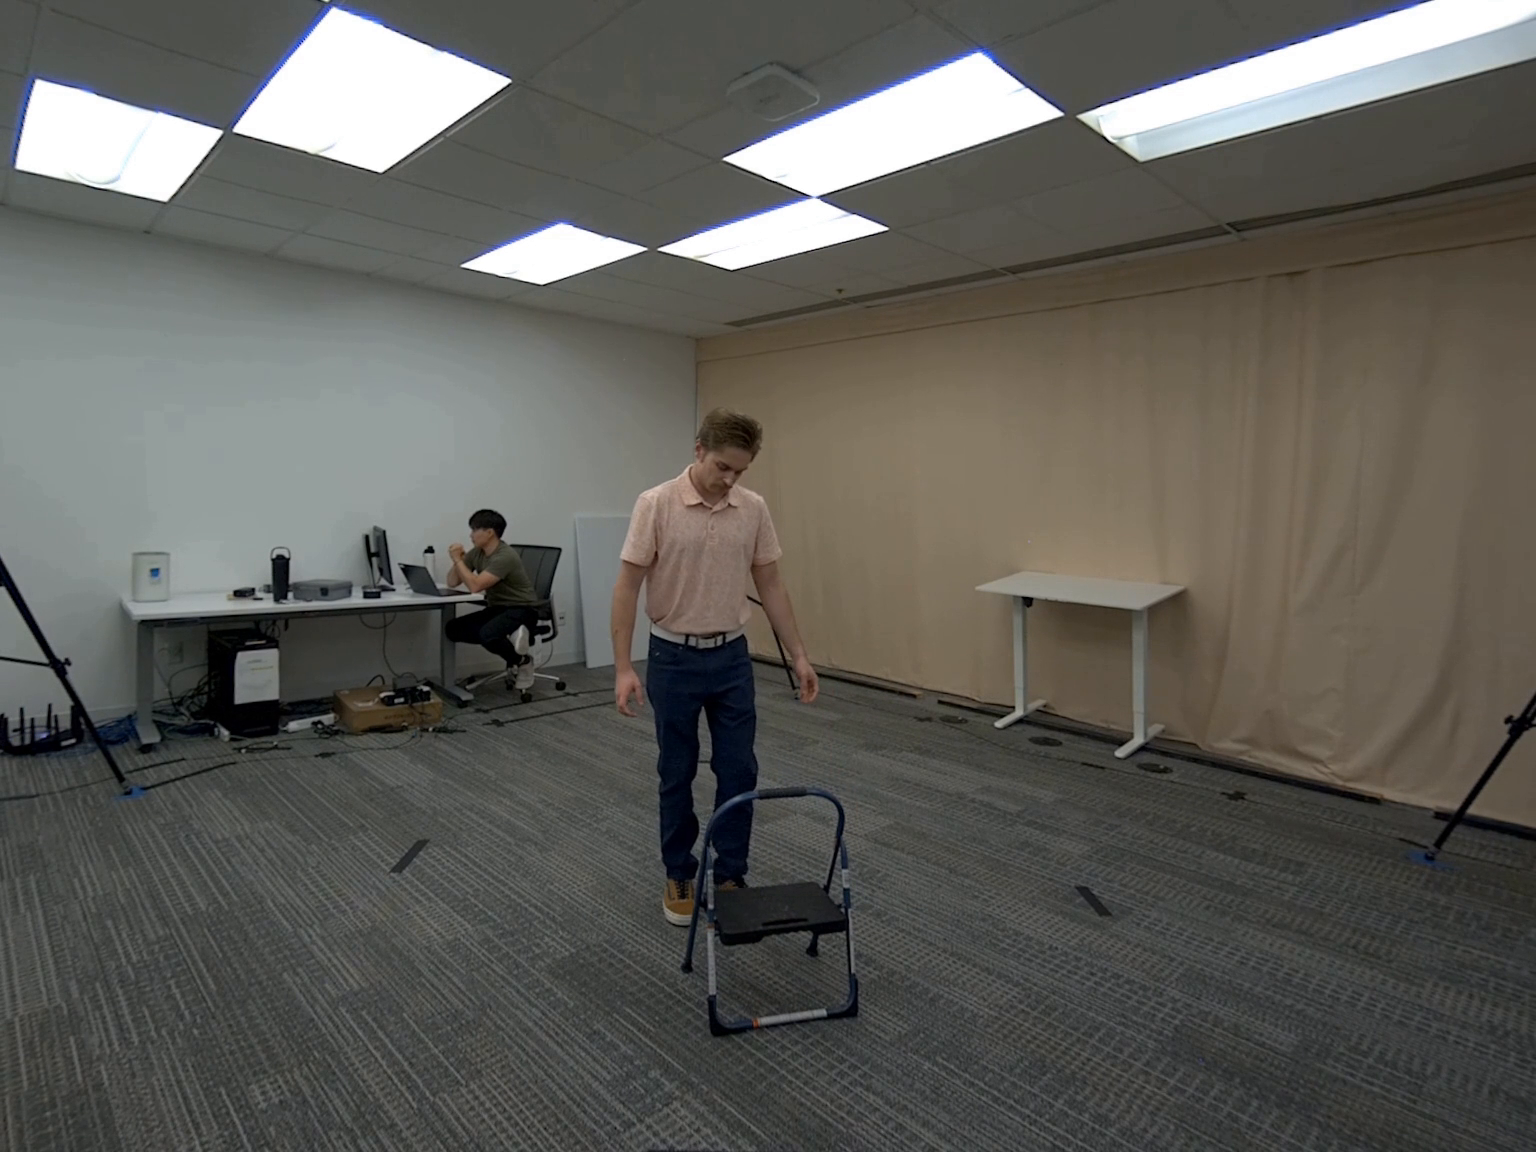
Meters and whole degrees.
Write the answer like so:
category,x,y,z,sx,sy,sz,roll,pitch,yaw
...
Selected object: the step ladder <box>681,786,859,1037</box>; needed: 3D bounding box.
category,x,y,z,sx,sy,sz,roll,pitch,yaw
step ladder,0.000,0.873,2.366,0.425,0.604,0.355,1,4,-17
